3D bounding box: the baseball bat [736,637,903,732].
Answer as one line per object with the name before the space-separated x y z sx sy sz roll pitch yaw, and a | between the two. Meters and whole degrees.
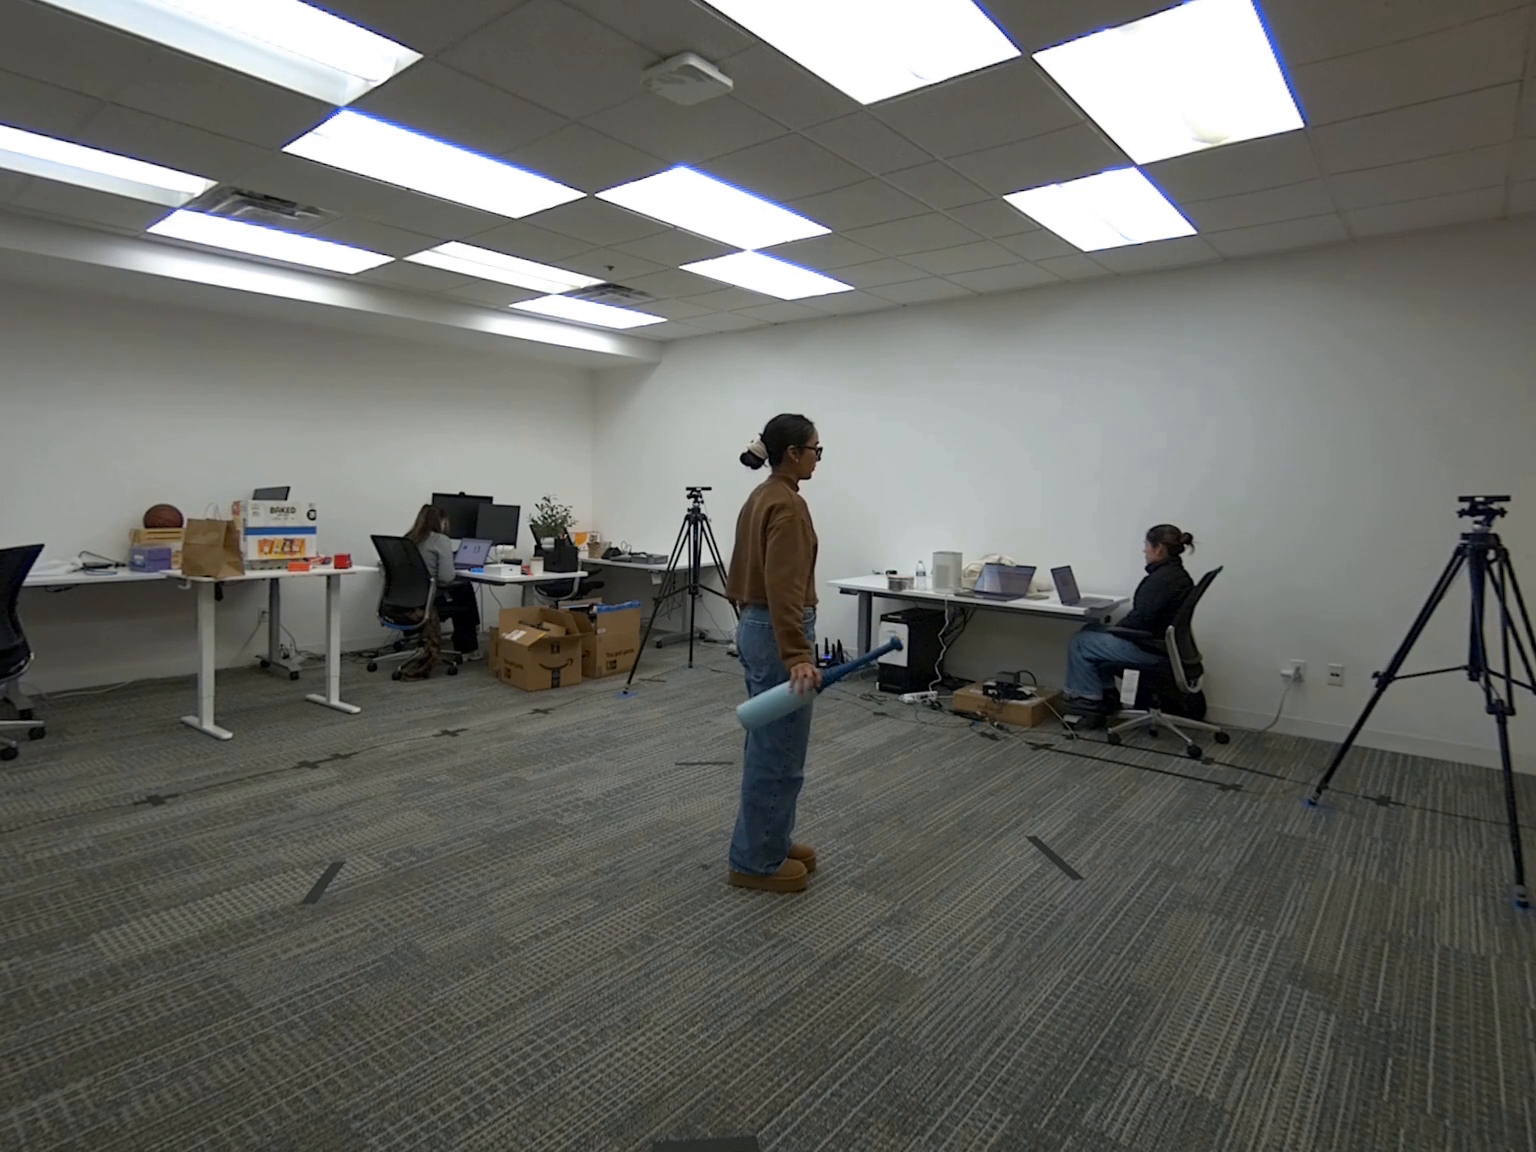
baseball bat | 0.149 0.314 2.592 0.544 0.089 0.089 -26 2 5
